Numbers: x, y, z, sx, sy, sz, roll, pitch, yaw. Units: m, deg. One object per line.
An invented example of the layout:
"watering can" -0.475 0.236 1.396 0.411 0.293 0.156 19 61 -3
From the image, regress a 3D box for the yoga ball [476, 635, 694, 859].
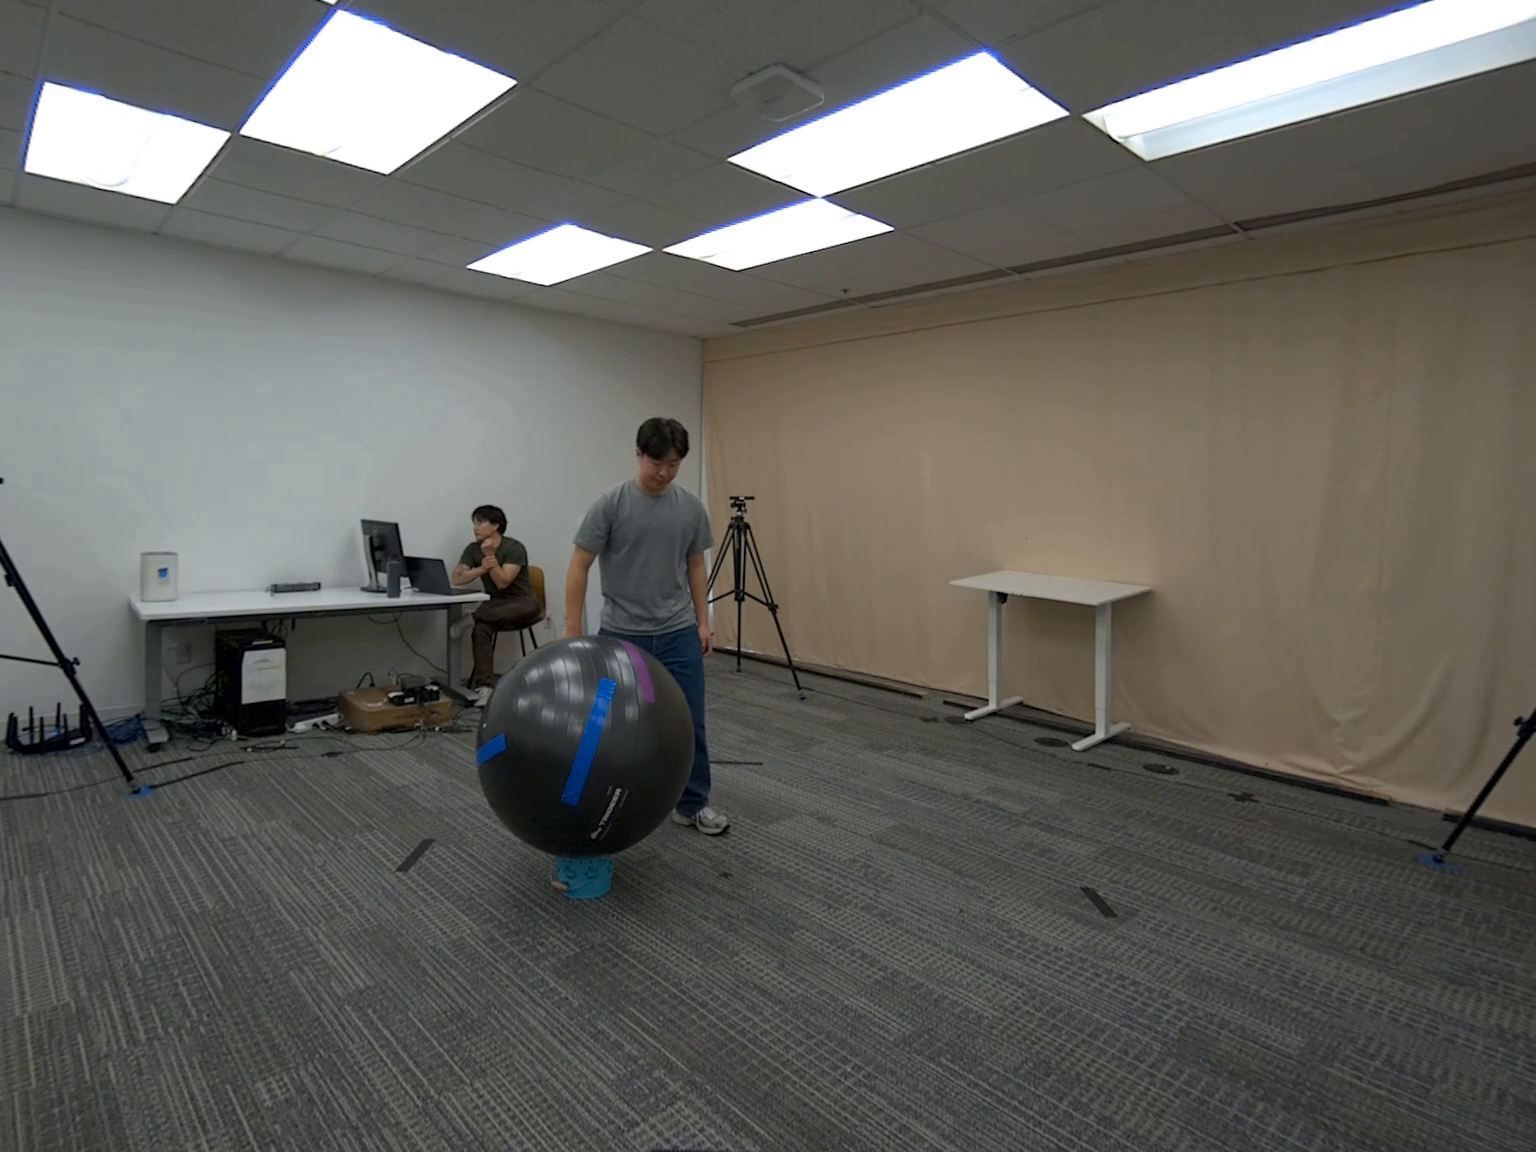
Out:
"yoga ball" -0.650 0.597 2.966 0.757 0.756 0.761 1 4 -1
